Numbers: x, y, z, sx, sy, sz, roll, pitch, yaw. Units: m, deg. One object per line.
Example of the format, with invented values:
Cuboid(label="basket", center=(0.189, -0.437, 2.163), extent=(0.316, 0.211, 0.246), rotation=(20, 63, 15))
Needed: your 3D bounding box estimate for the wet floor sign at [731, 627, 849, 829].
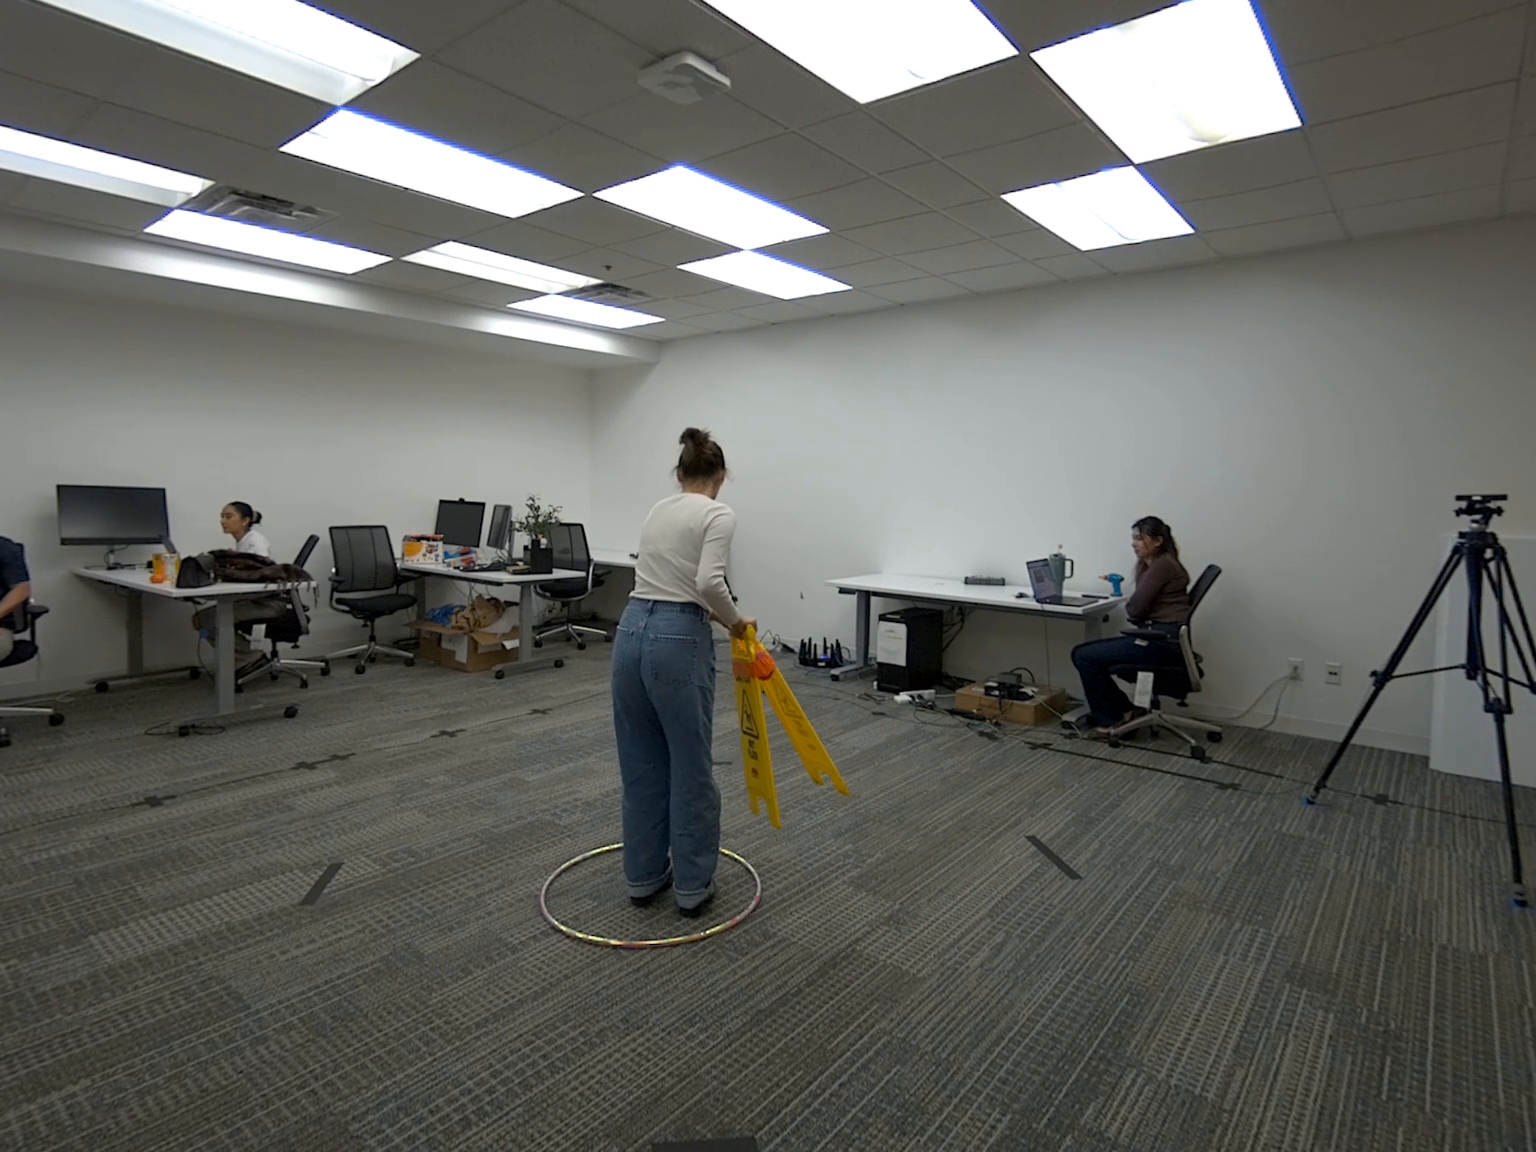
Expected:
Cuboid(label="wet floor sign", center=(-0.009, 0.471, 2.932), extent=(0.286, 0.645, 0.286), rotation=(-18, 2, -20))
